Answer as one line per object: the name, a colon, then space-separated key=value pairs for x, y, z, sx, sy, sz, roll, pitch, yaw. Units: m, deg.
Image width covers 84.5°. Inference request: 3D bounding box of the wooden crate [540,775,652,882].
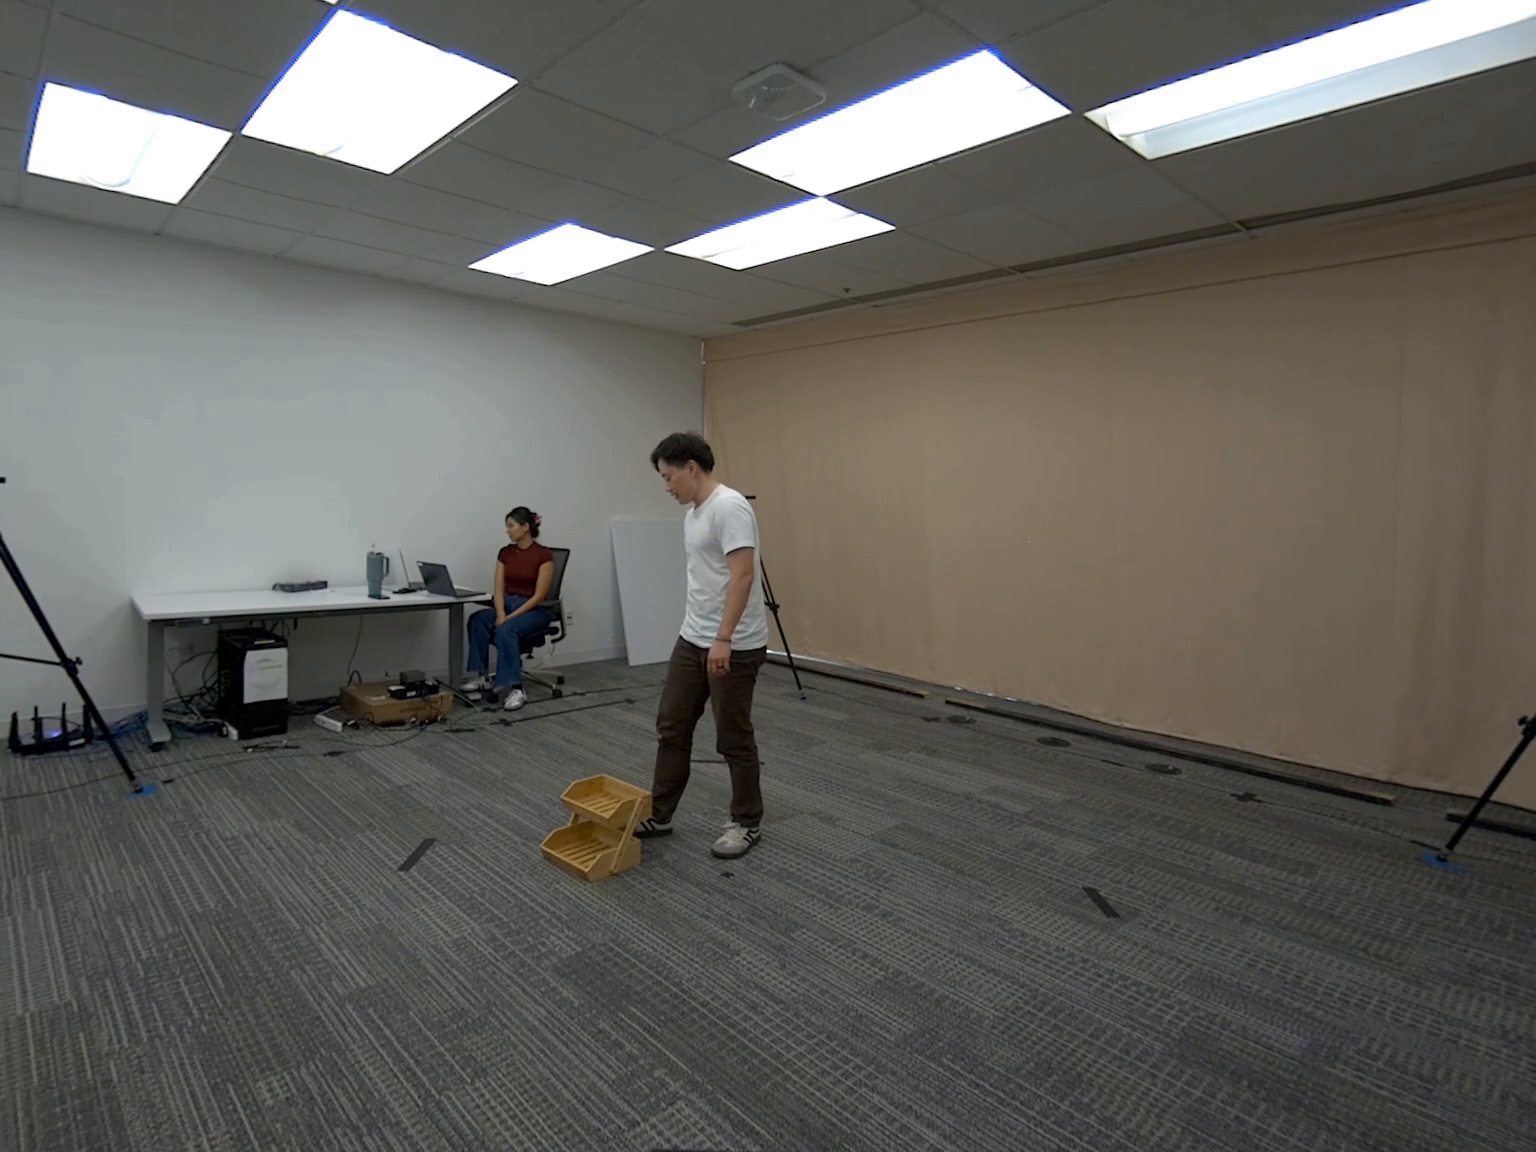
wooden crate: x=-0.663 y=0.950 z=3.210 sx=0.333 sy=0.273 sz=0.295 roll=5 pitch=5 yaw=42
